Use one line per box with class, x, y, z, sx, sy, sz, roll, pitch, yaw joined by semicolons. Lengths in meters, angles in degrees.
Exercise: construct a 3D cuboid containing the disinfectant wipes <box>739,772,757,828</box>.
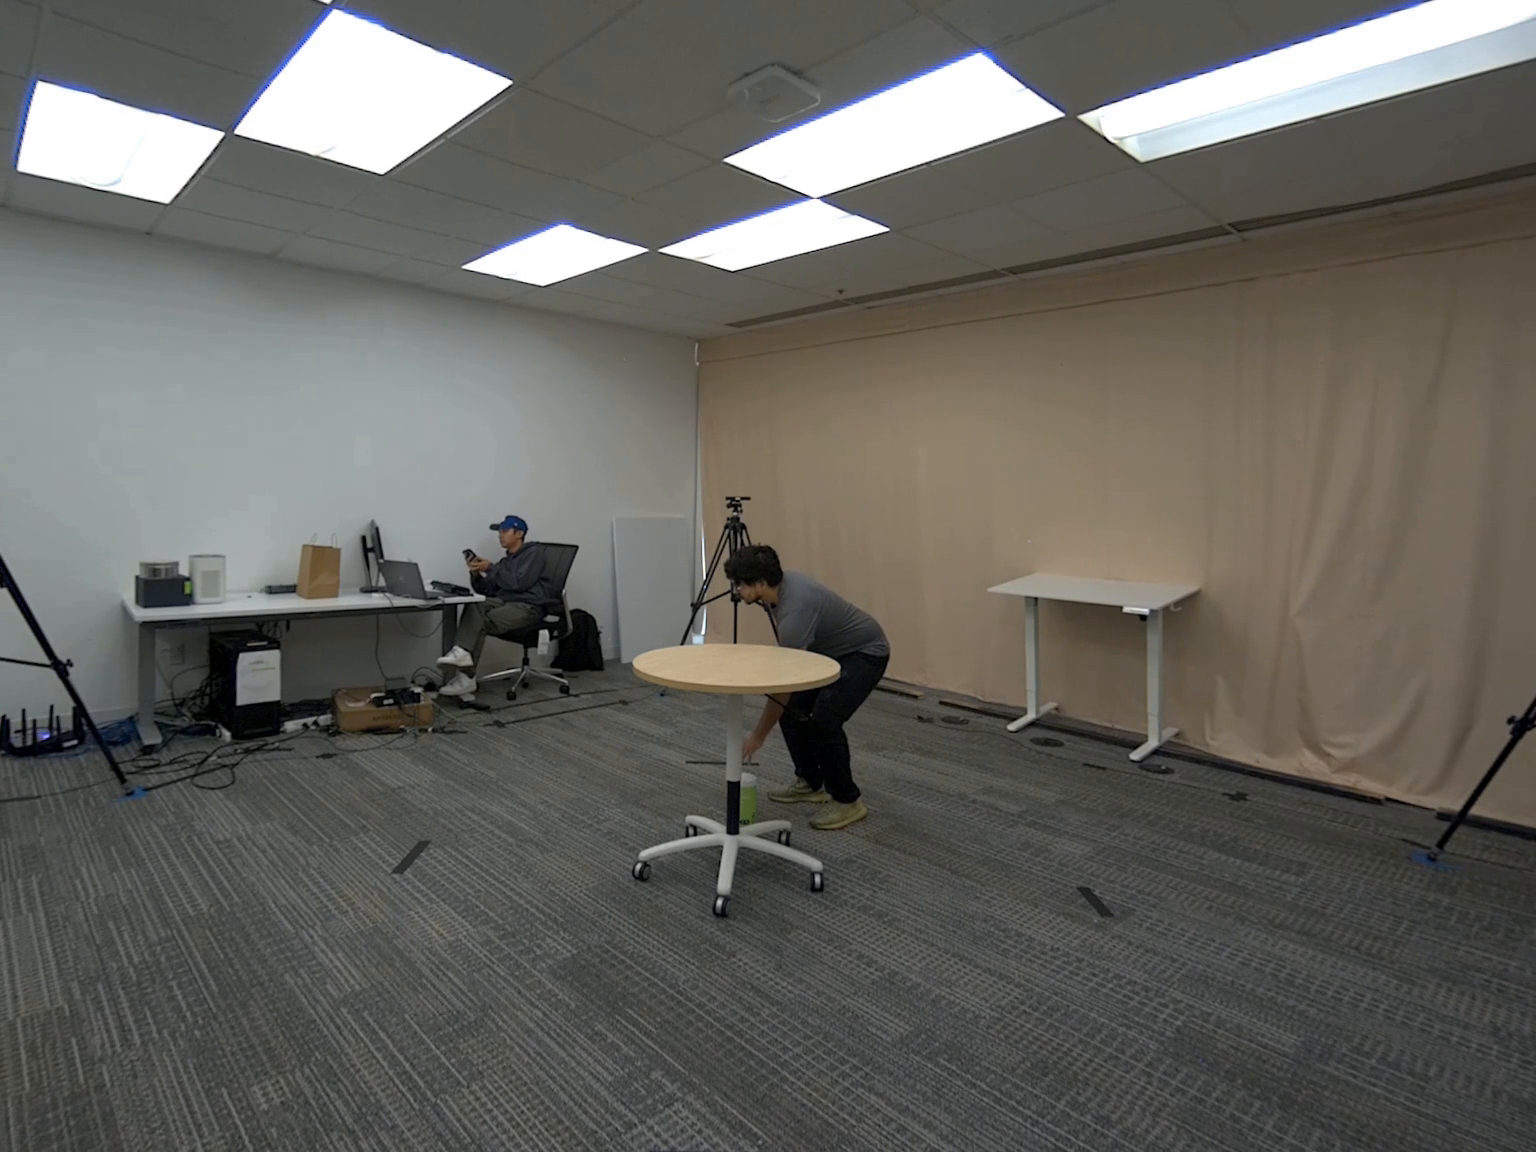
disinfectant wipes;-0.107;0.956;3.570;0.118;0.217;0.118;1;3;-1
